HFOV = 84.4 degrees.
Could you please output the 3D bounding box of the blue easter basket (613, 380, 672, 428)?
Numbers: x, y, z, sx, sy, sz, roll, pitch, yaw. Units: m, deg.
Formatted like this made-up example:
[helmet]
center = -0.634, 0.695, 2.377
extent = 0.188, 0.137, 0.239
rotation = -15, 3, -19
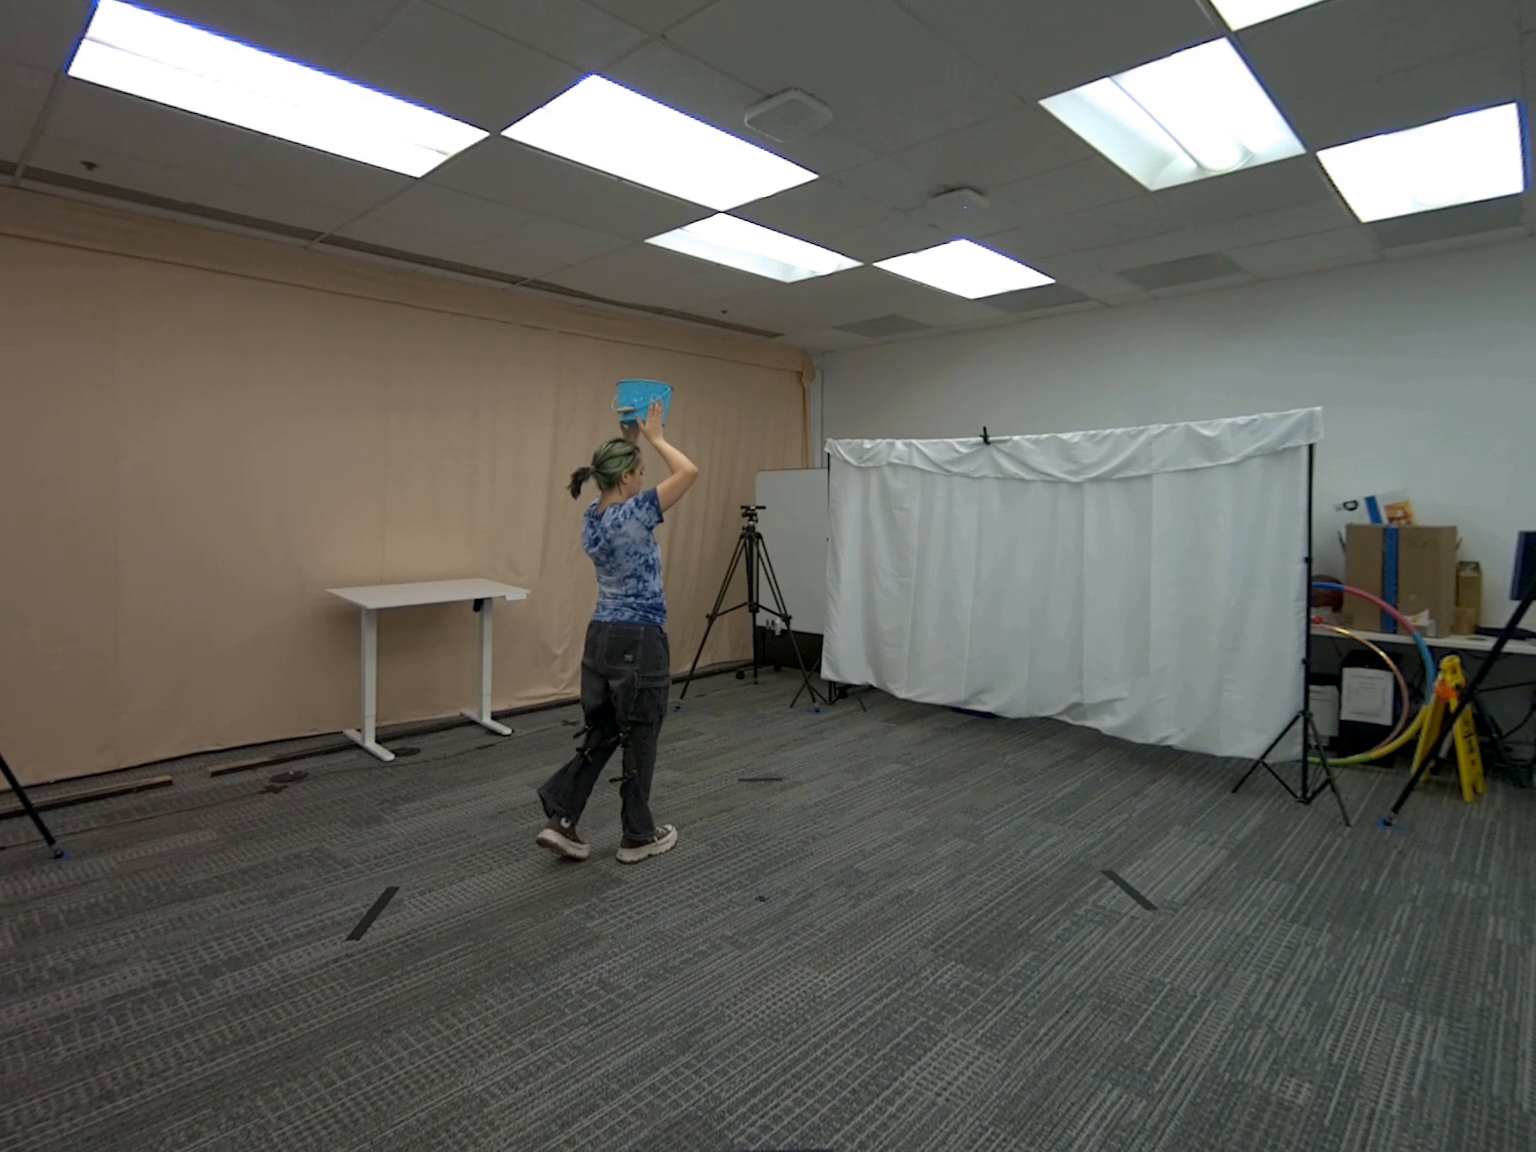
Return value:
[blue easter basket]
center = -0.514, -0.687, 3.390
extent = 0.243, 0.156, 0.243
rotation = 4, -2, -2
